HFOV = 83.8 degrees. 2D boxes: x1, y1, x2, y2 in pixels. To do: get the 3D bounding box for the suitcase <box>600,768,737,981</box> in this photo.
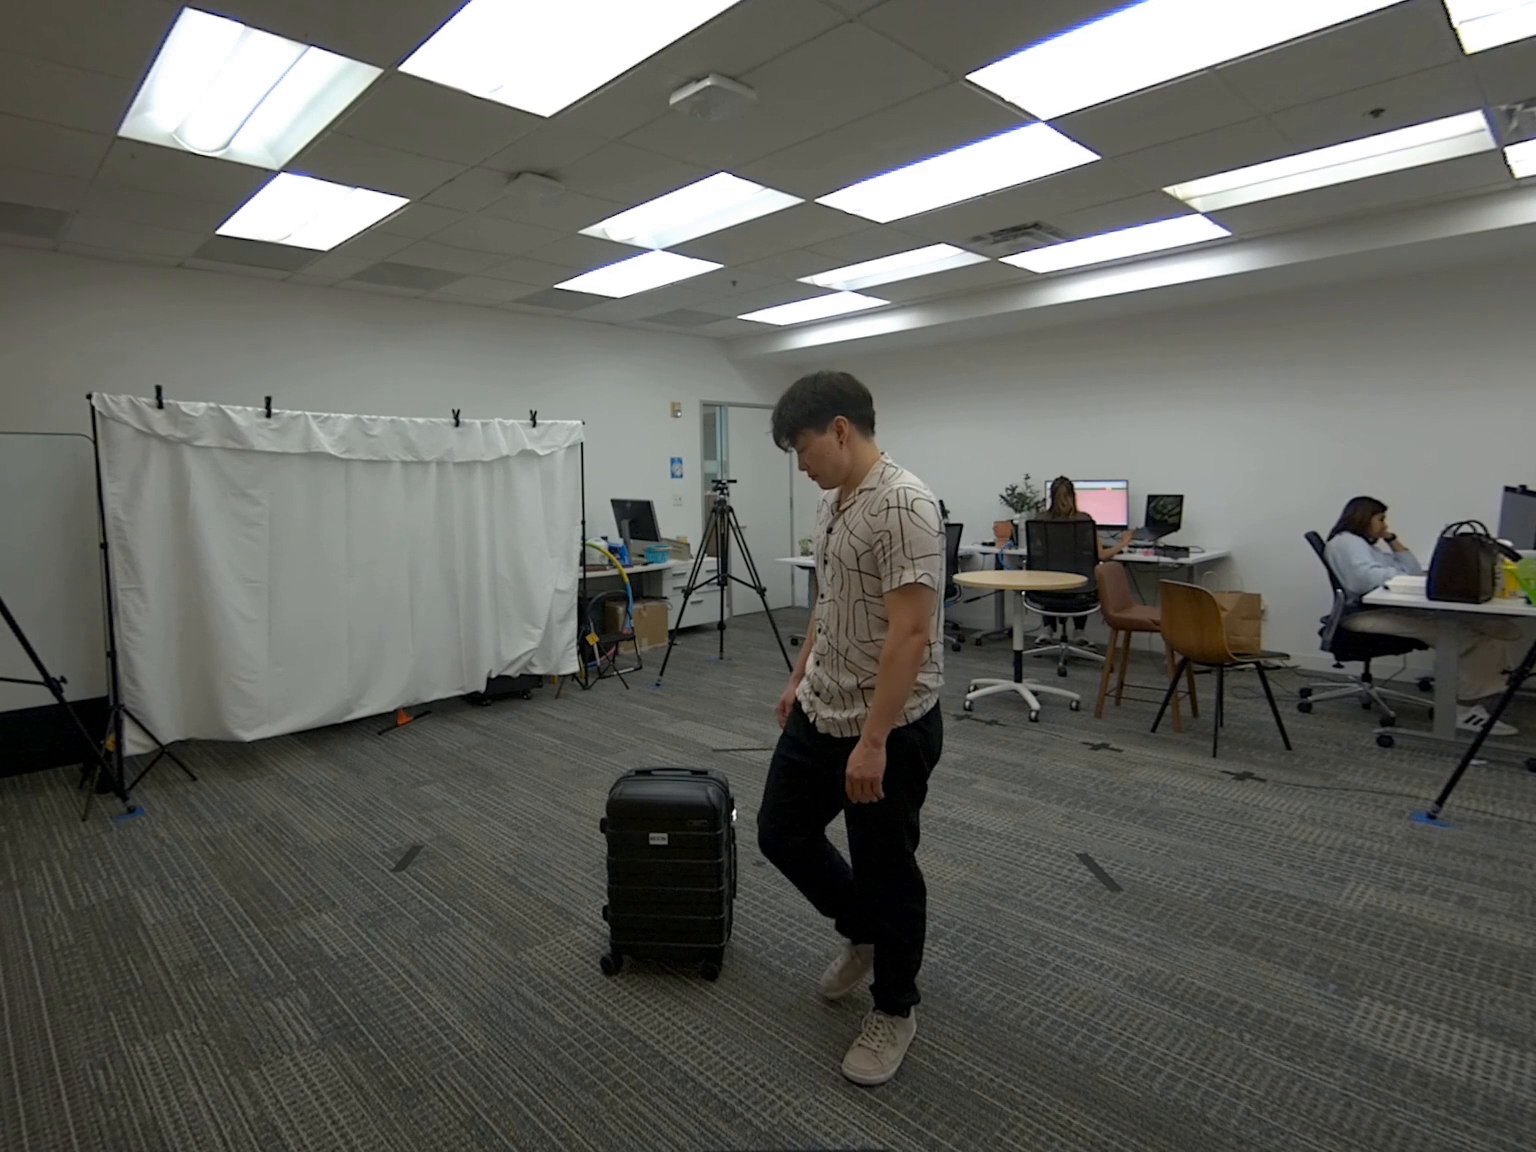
[{"bbox_3d":[-0.281,0.849,2.504,0.378,0.547,0.248,1,4,5],"label":"suitcase"}]
